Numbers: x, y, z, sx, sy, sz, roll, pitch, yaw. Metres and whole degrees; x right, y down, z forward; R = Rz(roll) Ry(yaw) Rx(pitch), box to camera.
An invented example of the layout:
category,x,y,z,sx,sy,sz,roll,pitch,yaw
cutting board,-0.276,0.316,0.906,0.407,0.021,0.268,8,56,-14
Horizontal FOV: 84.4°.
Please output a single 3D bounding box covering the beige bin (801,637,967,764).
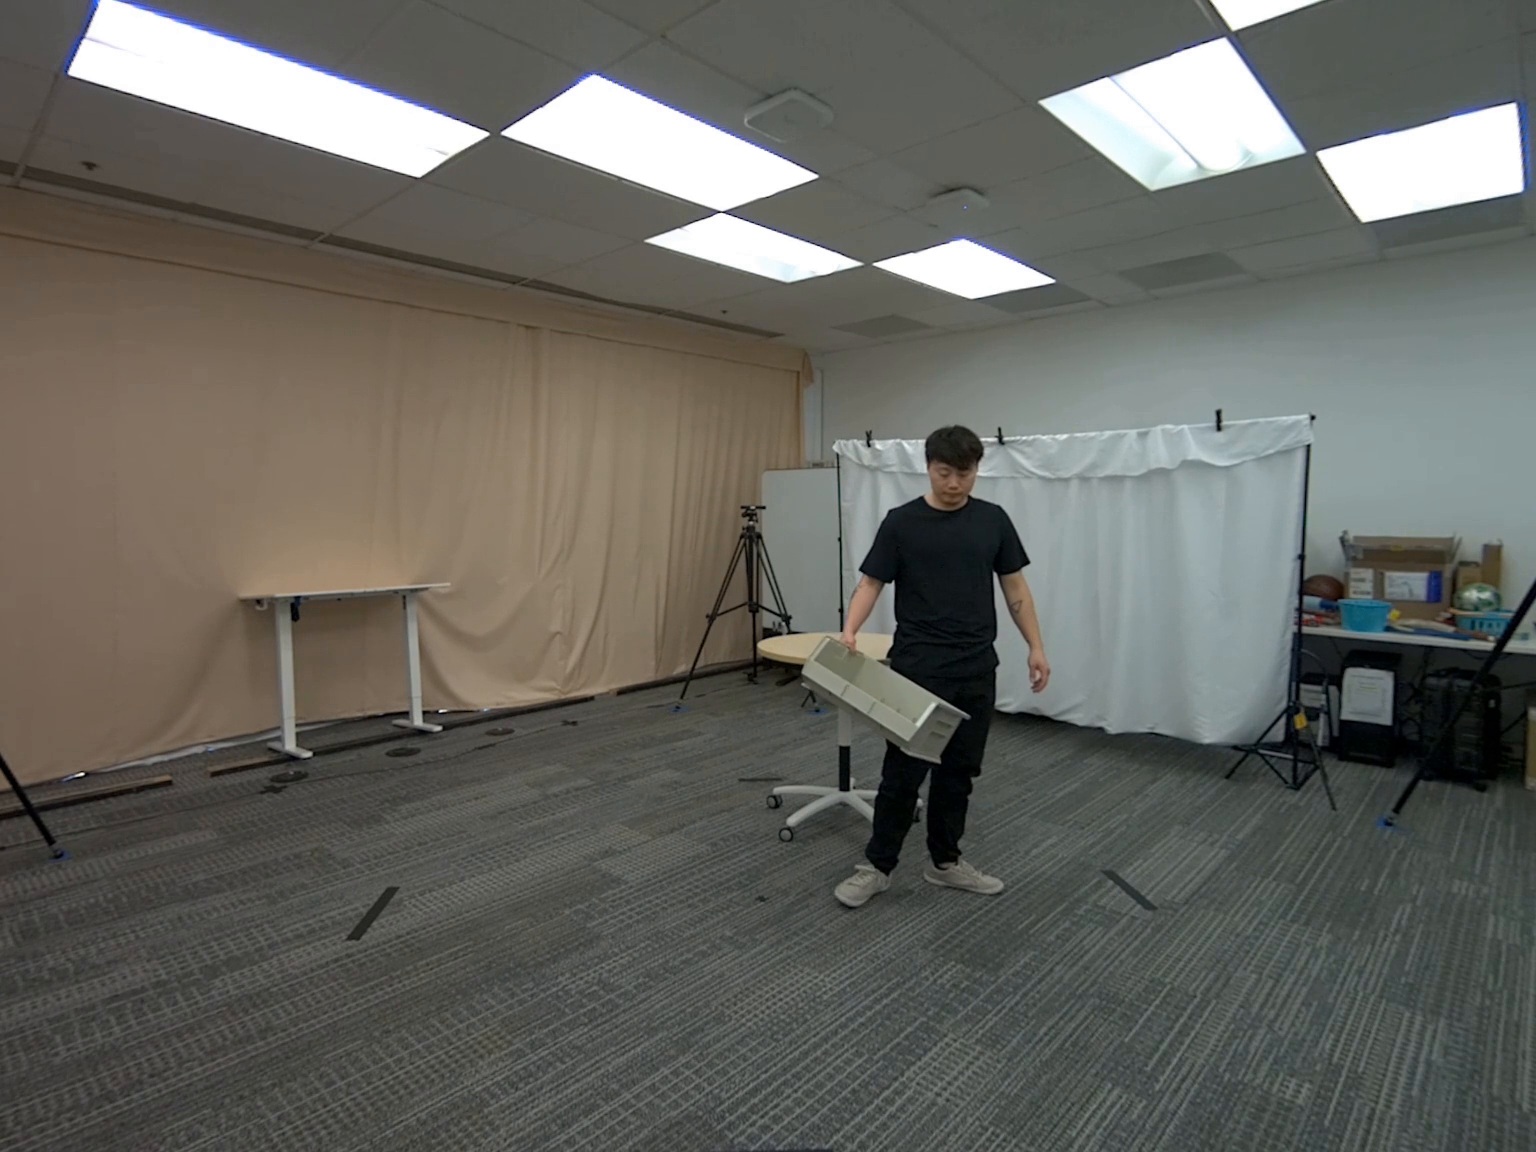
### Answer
category,x,y,z,sx,sy,sz,roll,pitch,yaw
beige bin,0.368,0.392,2.679,0.437,0.189,0.364,29,-2,33
